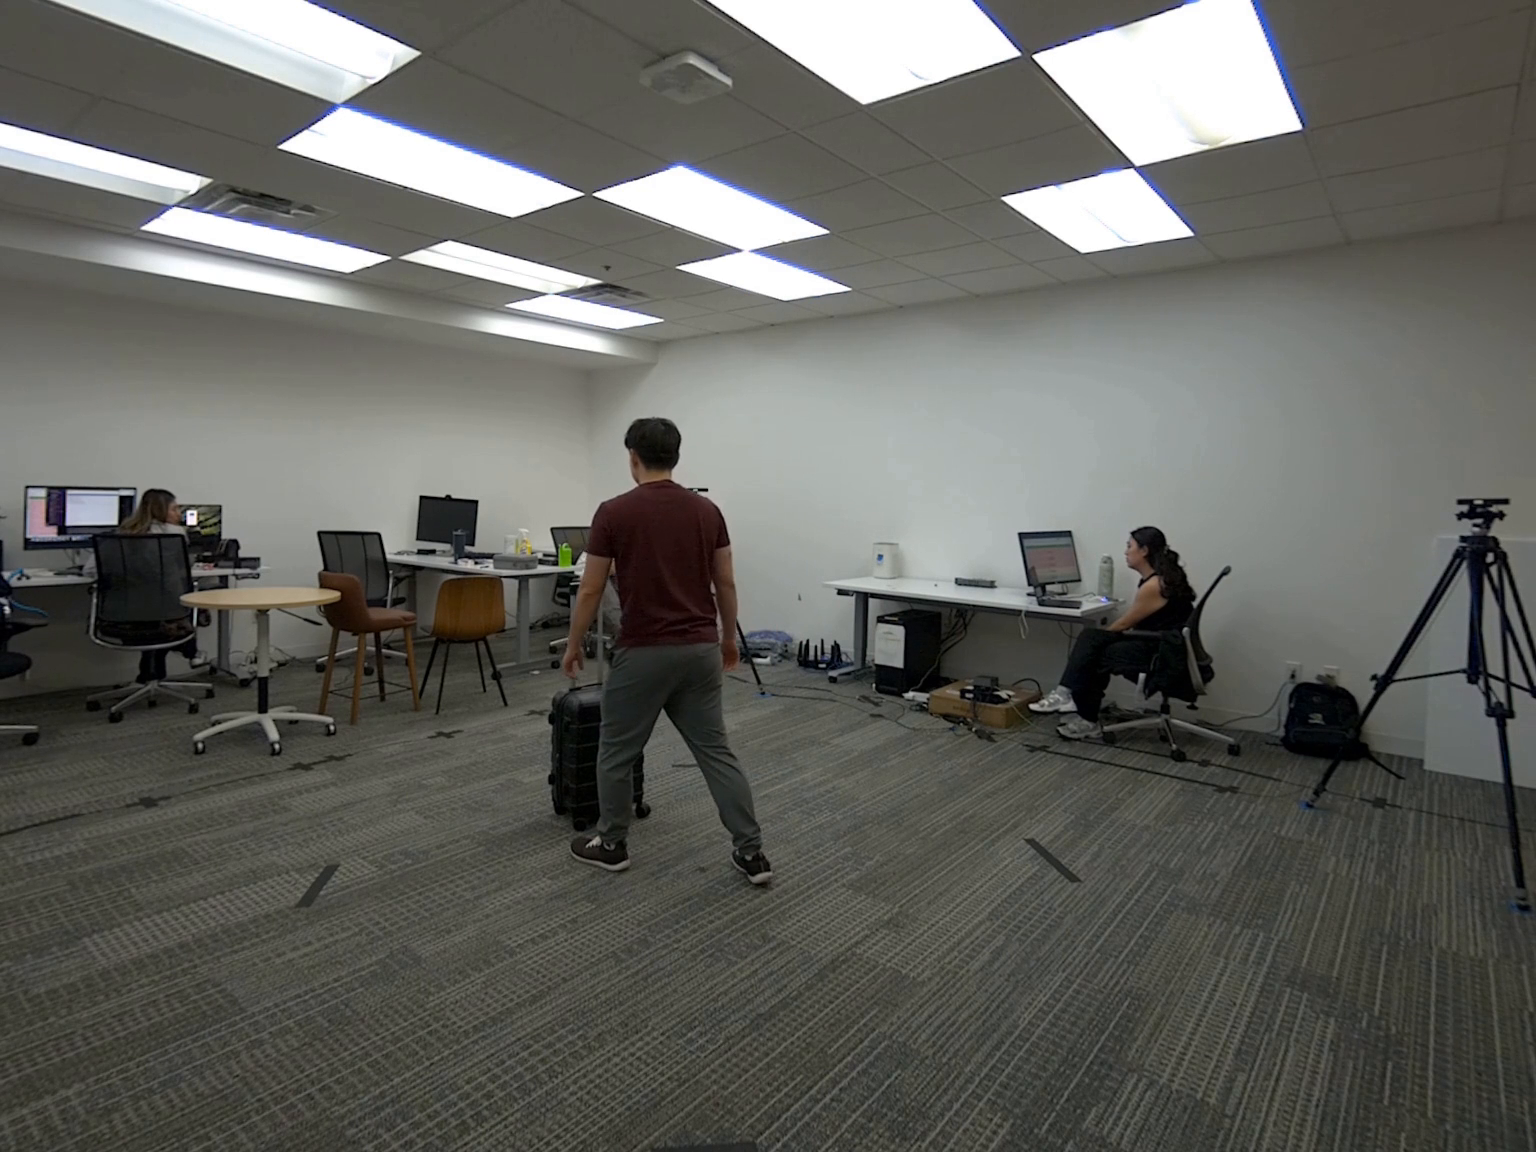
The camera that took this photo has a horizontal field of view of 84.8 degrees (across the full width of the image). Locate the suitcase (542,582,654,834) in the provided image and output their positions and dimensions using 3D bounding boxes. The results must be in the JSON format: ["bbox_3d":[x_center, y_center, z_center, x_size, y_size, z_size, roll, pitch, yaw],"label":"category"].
[{"bbox_3d":[-0.728,0.532,3.592,0.373,0.976,0.265,-2,4,-33],"label":"suitcase"}]
